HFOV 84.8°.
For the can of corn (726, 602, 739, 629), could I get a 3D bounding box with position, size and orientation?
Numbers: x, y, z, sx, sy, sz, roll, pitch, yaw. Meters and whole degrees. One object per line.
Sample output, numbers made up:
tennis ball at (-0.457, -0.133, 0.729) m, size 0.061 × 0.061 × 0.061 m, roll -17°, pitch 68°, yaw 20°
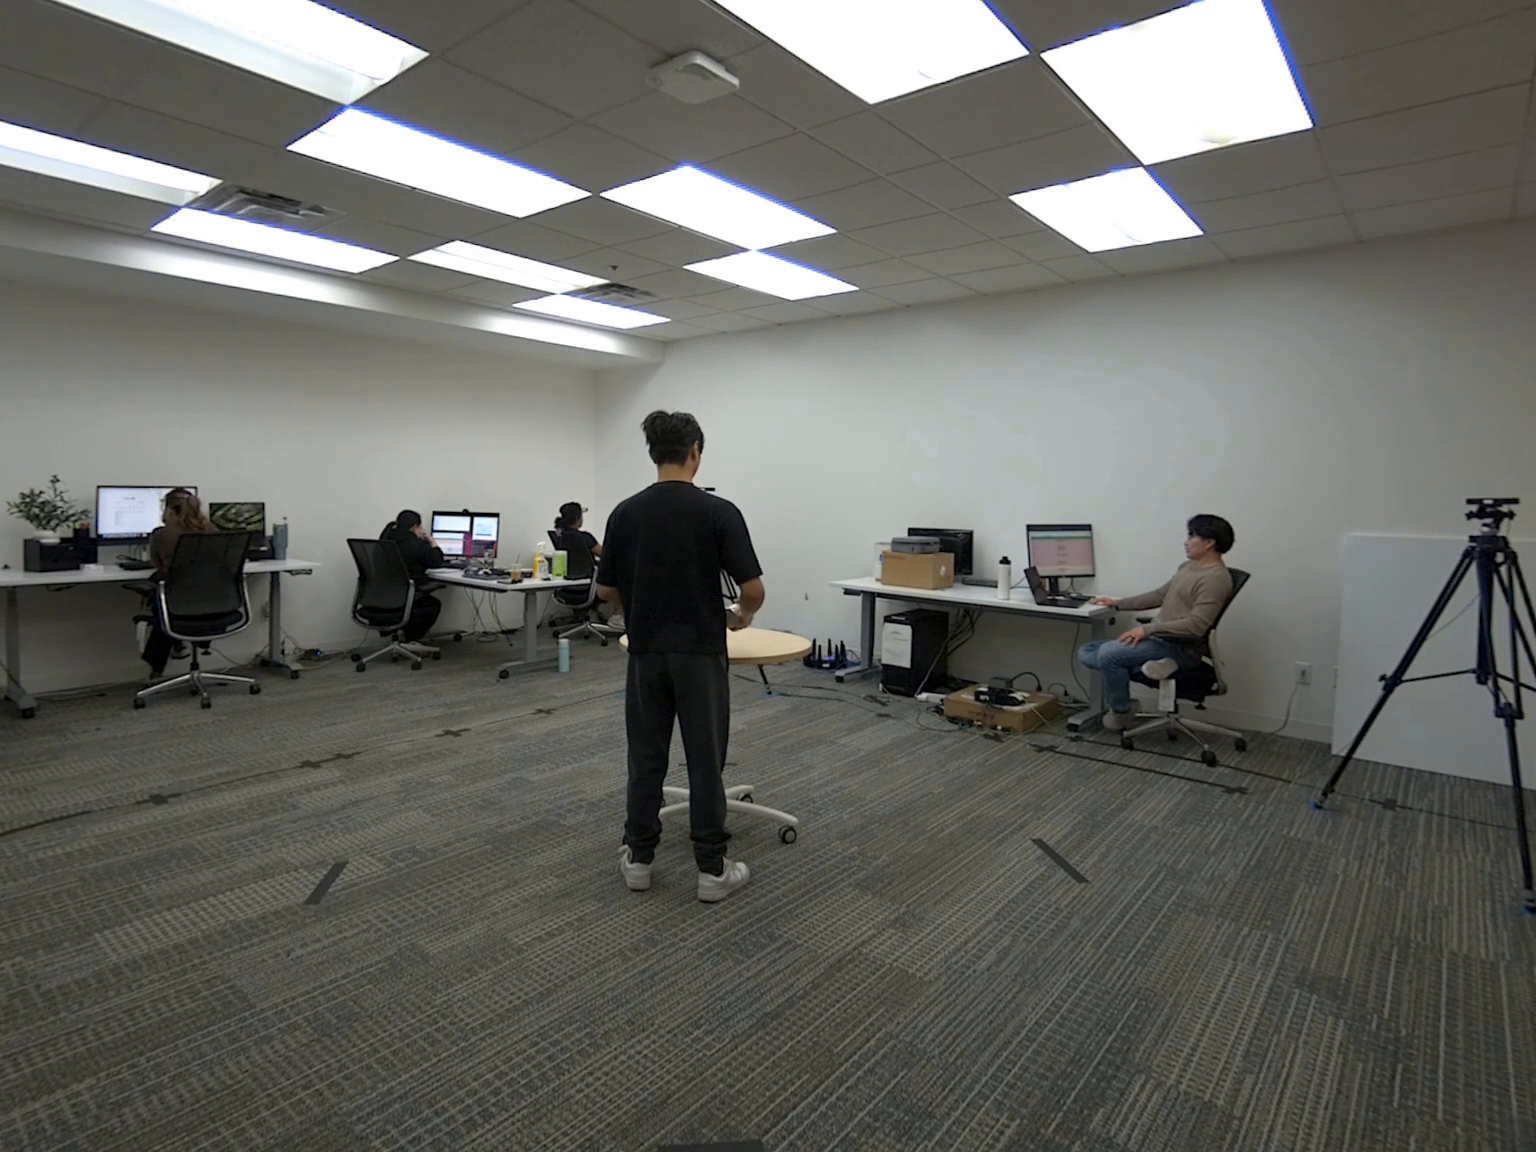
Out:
can of corn at (-0.148, 0.137, 3.115) m, size 0.074 × 0.073 × 0.111 m, roll 1°, pitch 10°, yaw 2°
